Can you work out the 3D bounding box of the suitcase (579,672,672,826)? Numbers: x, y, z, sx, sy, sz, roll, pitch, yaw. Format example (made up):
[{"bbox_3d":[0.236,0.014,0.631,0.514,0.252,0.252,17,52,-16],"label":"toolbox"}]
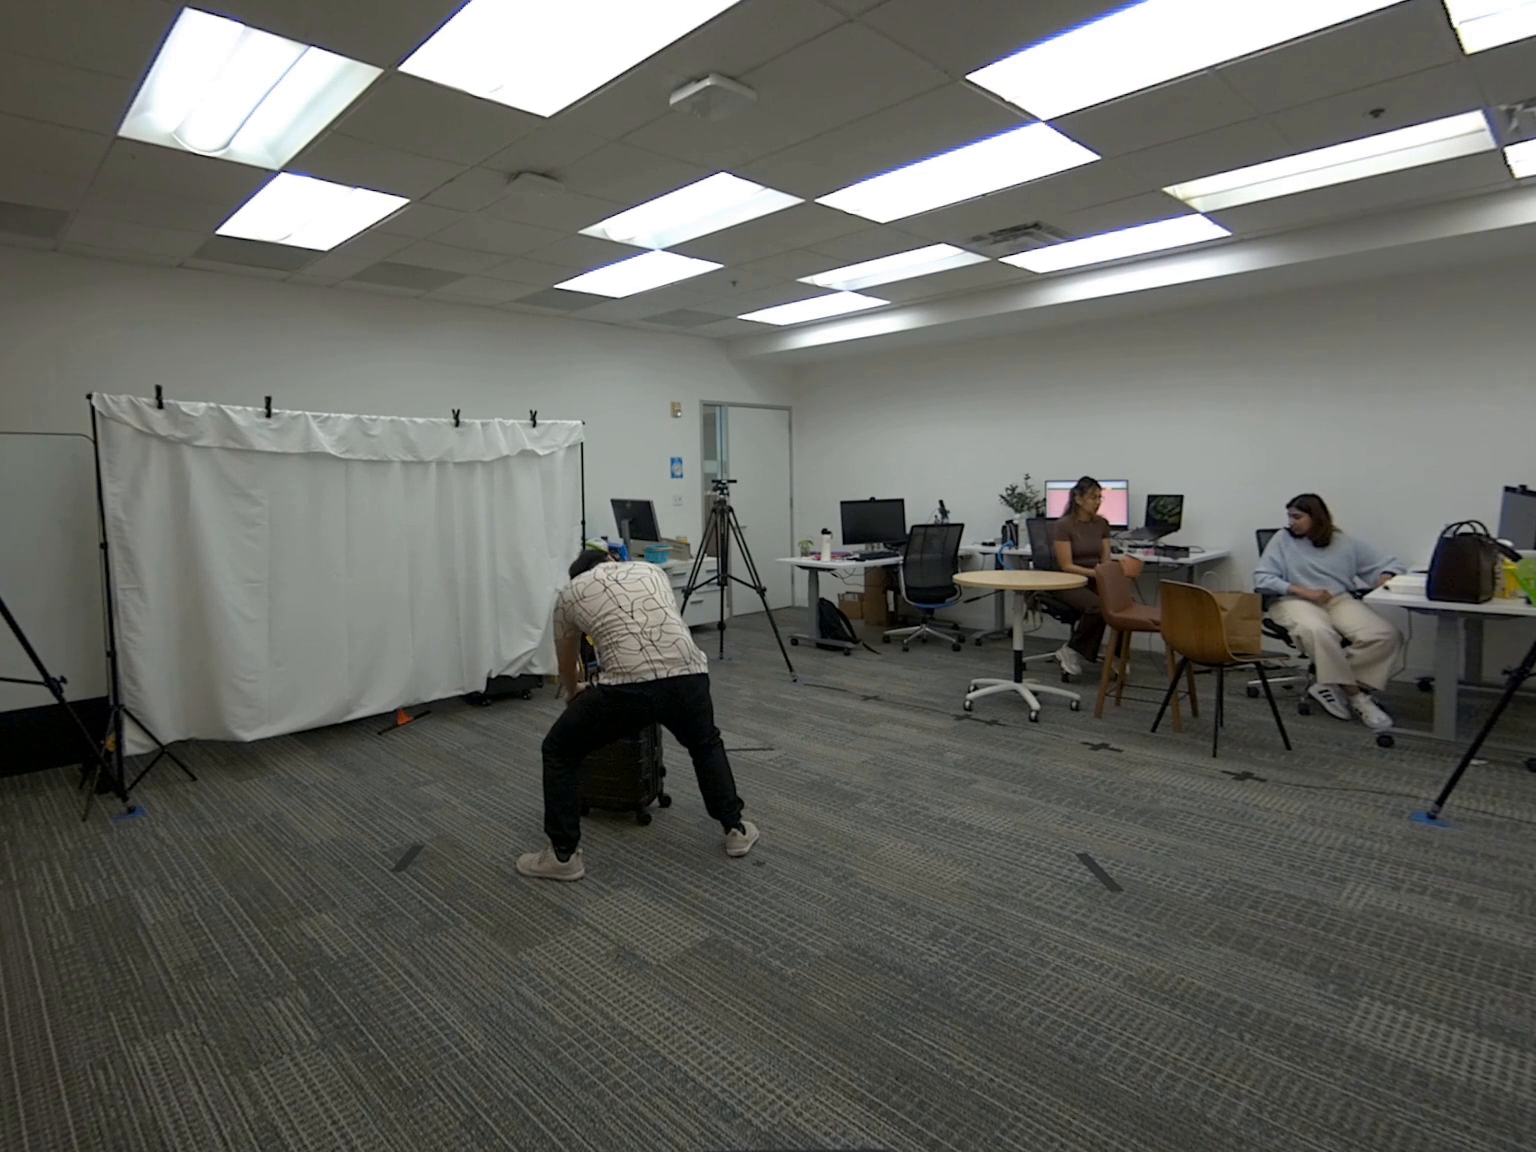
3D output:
[{"bbox_3d":[-0.637,0.729,3.624,0.383,0.547,0.244,0,4,21],"label":"suitcase"}]
